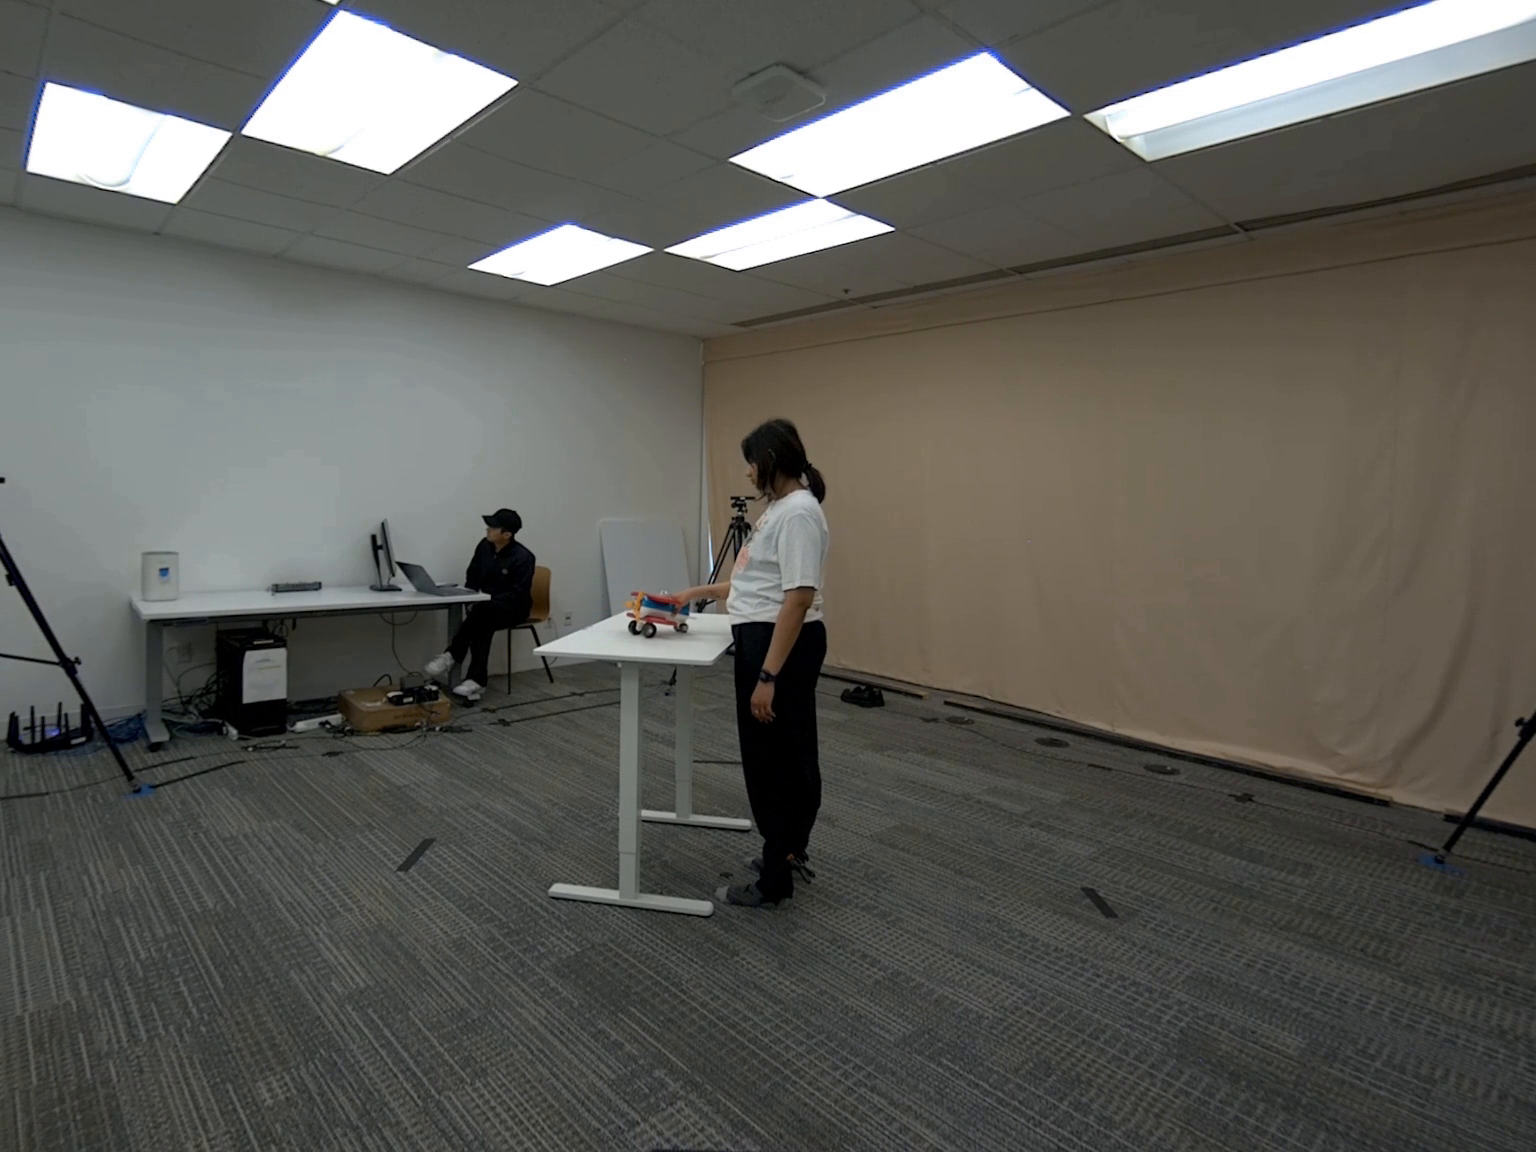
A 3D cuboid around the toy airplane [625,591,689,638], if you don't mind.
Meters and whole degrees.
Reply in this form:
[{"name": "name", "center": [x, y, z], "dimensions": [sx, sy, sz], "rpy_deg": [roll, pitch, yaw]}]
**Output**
[{"name": "toy airplane", "center": [-0.411, 0.139, 3.119], "dimensions": [0.255, 0.156, 0.256], "rpy_deg": [2, 5, 20]}]
